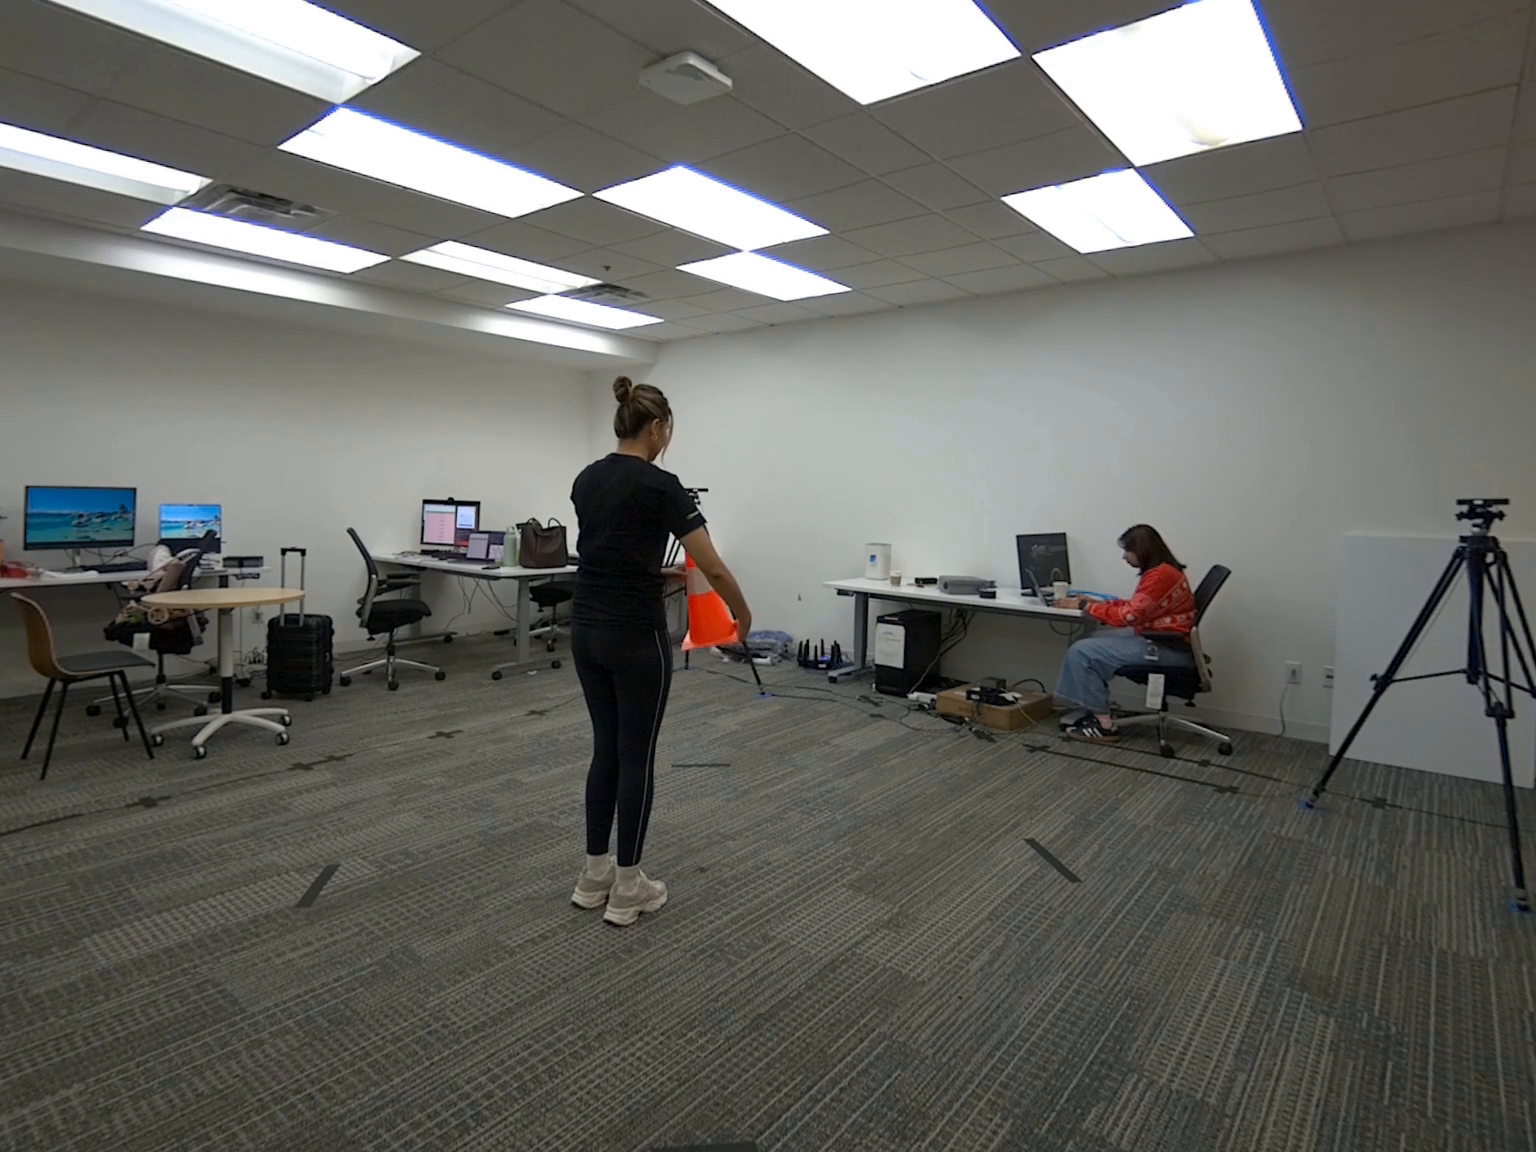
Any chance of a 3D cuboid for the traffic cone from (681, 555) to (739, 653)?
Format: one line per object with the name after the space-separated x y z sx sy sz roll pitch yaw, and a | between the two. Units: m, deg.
-0.237 0.025 2.867 0.201 0.378 0.210 -19 15 -33 | traffic cone
